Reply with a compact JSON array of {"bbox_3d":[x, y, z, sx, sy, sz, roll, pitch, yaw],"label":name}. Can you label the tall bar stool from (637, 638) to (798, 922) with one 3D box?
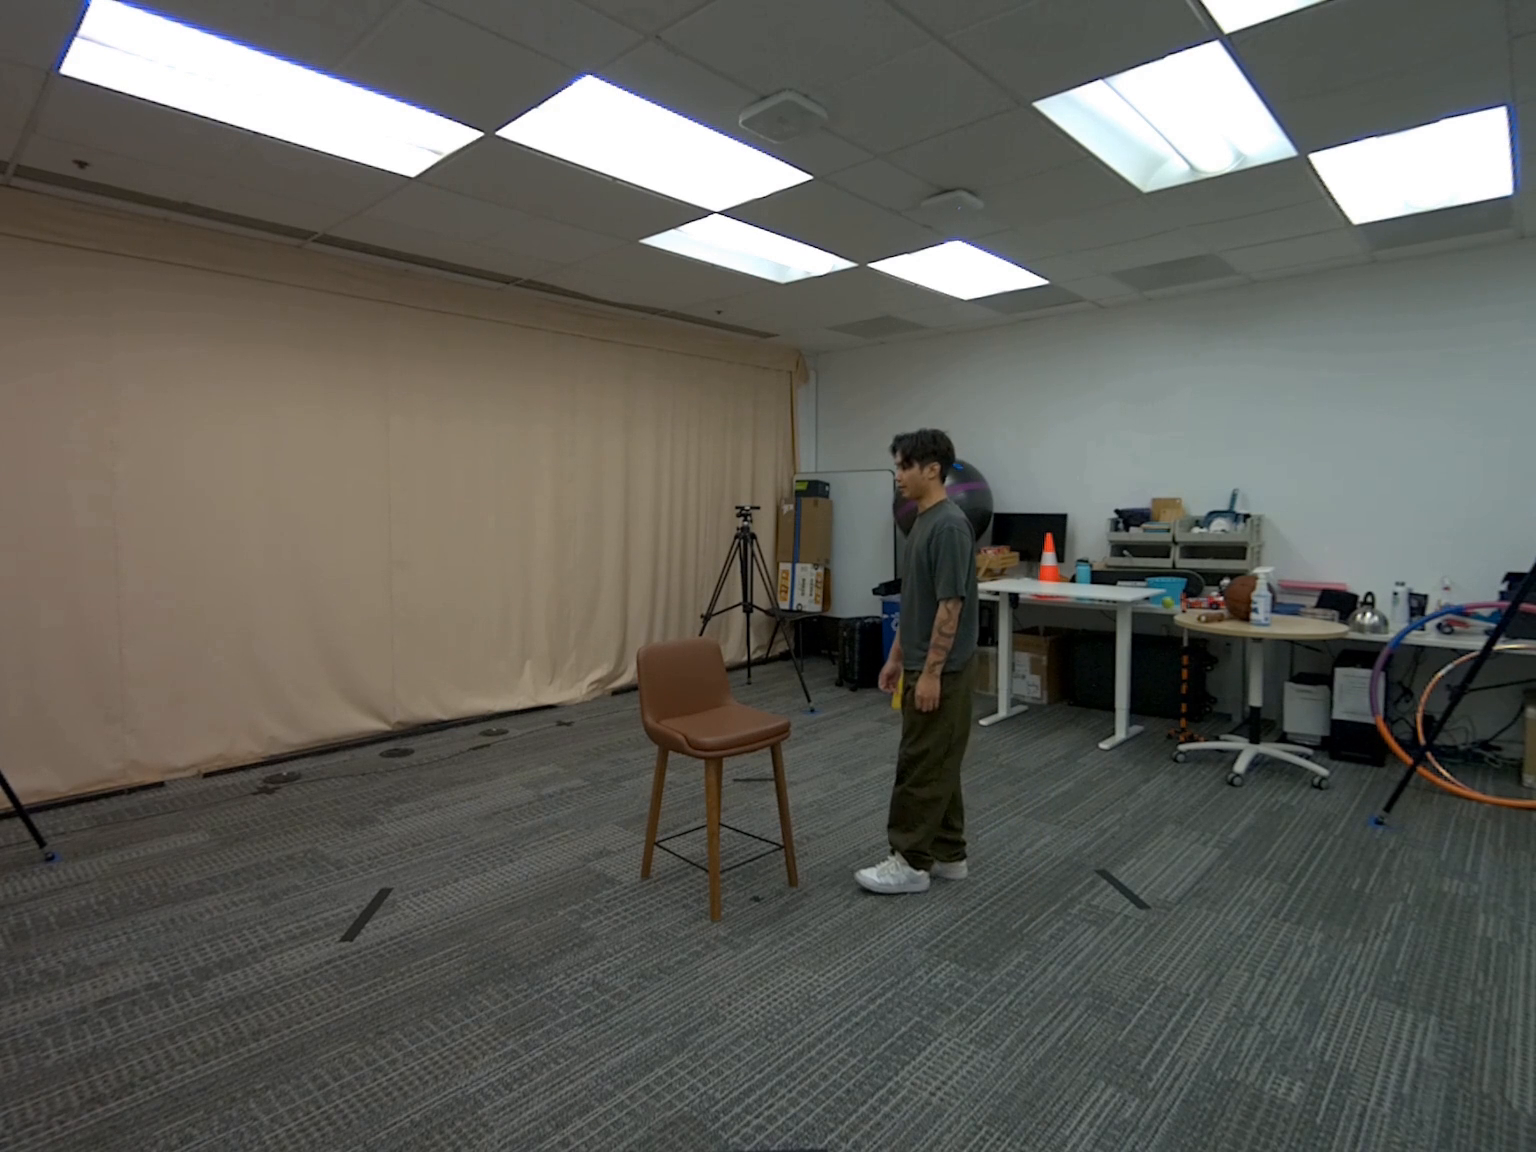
[{"bbox_3d":[-0.195,0.703,3.100,0.442,0.889,0.483,-3,2,-43],"label":"tall bar stool"}]
